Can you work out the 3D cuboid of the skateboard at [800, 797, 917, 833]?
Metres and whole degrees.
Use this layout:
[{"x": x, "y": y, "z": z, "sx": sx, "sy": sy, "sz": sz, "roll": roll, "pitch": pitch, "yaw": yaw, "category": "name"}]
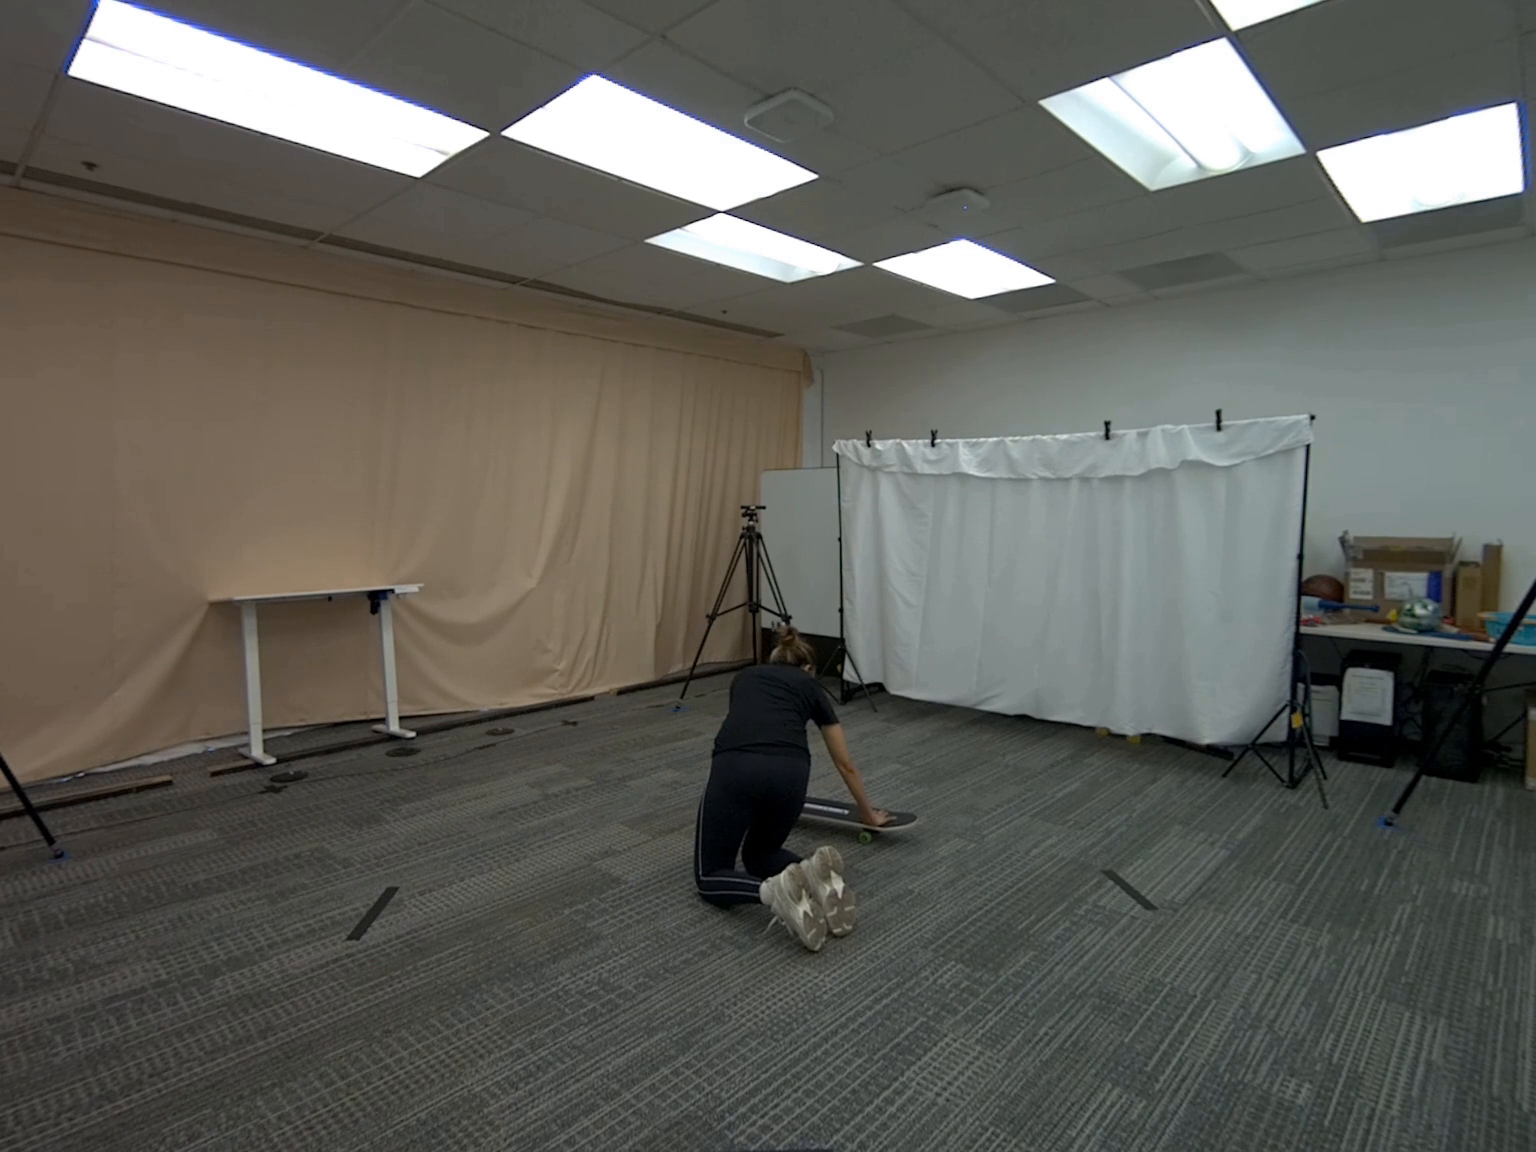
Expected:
[{"x": 0.248, "y": 1.031, "z": 3.622, "sx": 0.806, "sy": 0.110, "sz": 0.189, "roll": 2, "pitch": 6, "yaw": 26, "category": "skateboard"}]
